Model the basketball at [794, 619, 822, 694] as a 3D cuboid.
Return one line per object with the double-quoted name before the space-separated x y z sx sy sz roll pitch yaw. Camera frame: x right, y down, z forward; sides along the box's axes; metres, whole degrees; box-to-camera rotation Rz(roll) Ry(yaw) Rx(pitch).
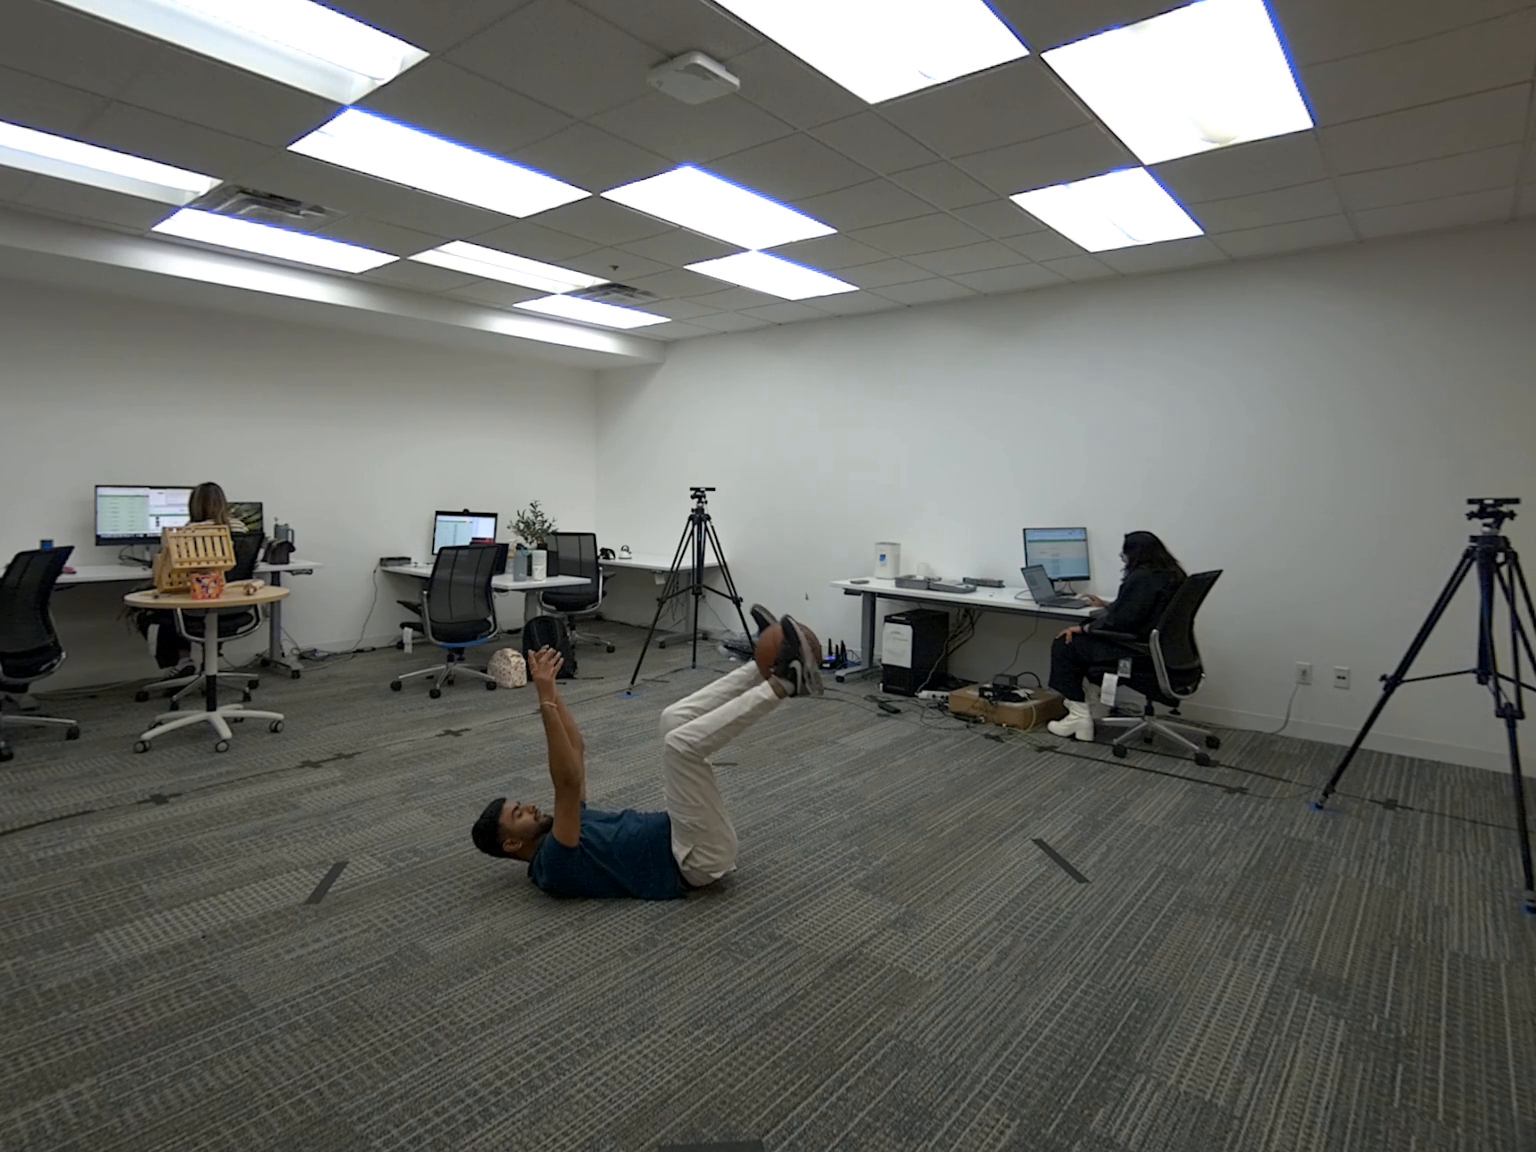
"basketball" 0.066 0.284 3.037 0.235 0.235 0.237 1 4 -2
